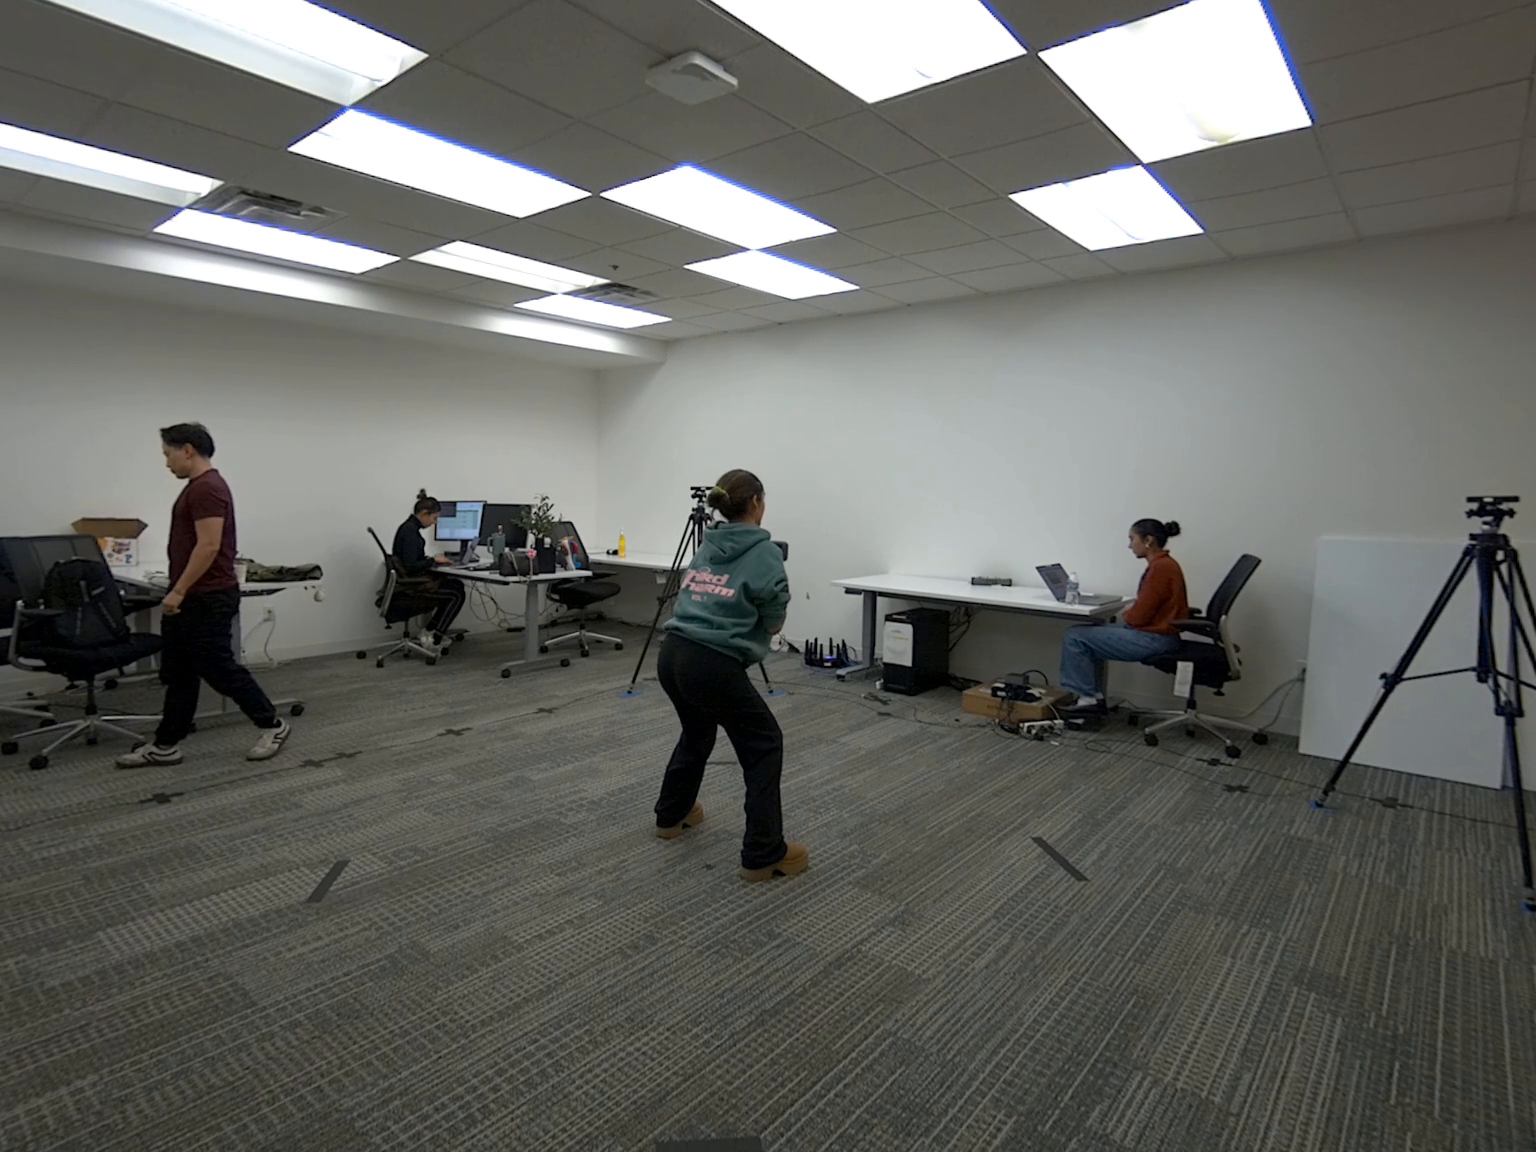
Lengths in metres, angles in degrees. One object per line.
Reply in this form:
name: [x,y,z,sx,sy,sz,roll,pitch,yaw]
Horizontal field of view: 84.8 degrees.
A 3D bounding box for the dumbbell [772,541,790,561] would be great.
dumbbell: [0.002,0.013,3.364,0.123,0.293,0.109,4,2,-2]
